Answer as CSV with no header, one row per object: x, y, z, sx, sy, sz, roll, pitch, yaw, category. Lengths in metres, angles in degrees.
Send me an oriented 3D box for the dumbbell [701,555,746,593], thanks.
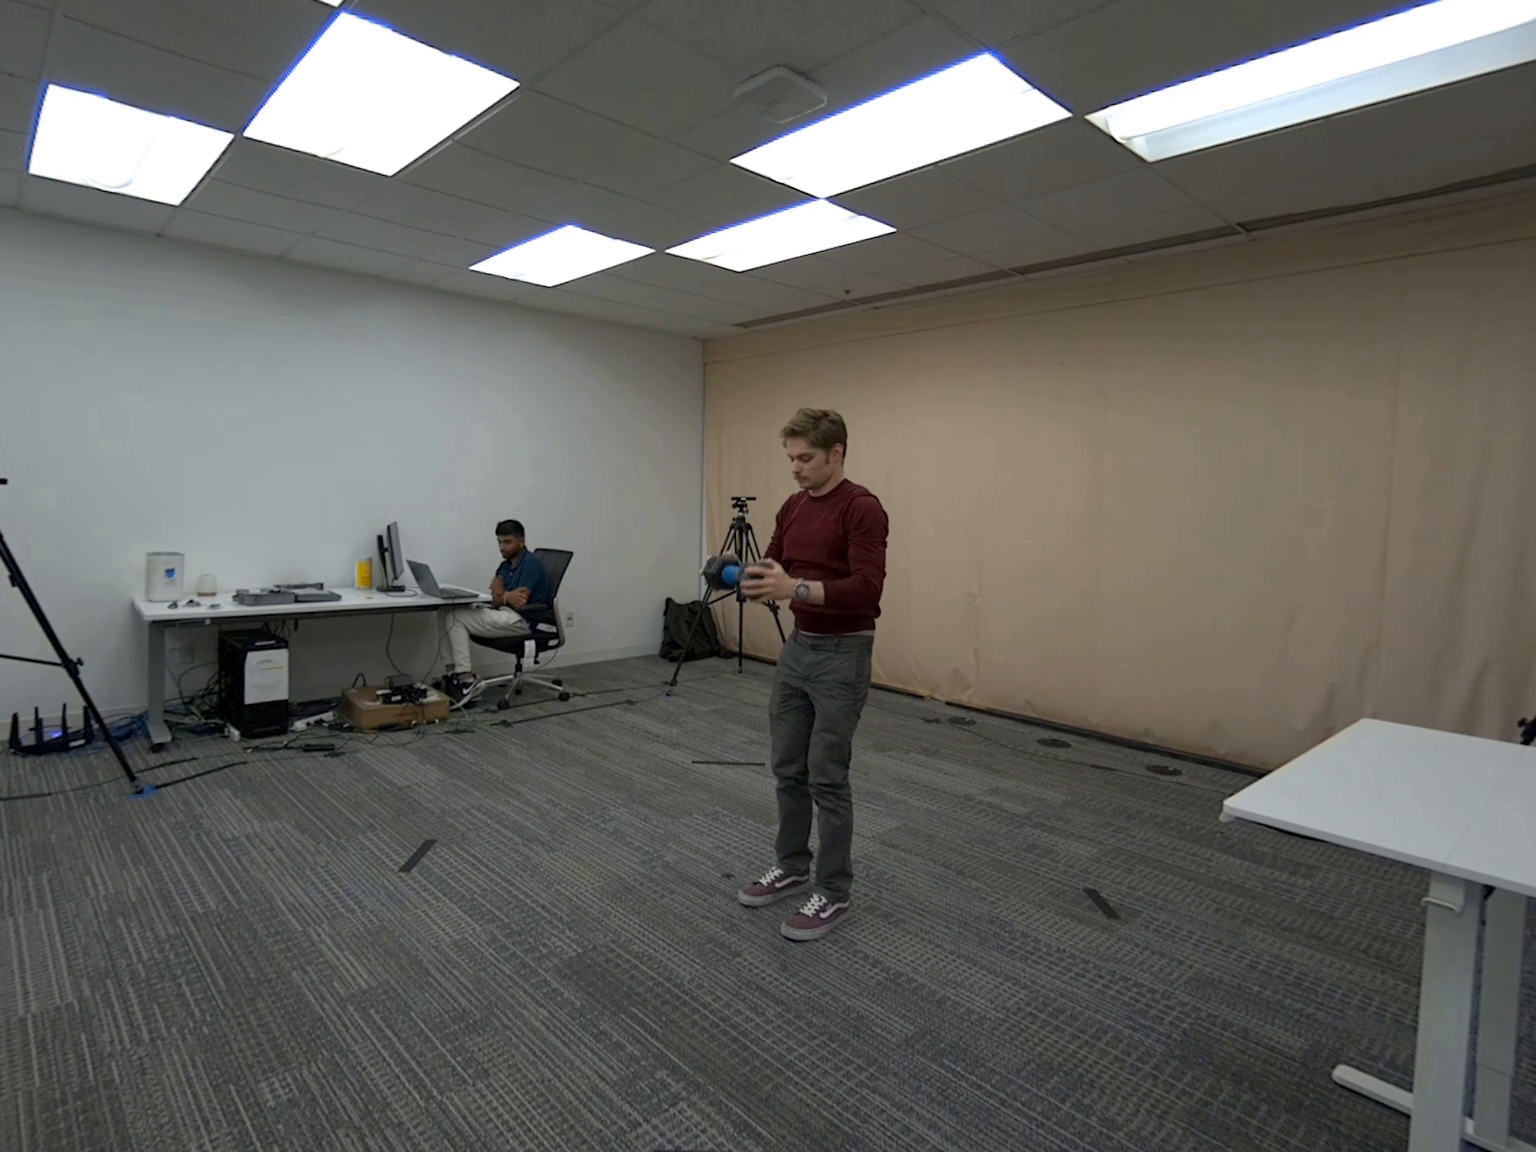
-0.084,0.011,2.666,0.121,0.108,0.300,-5,8,-29,dumbbell
